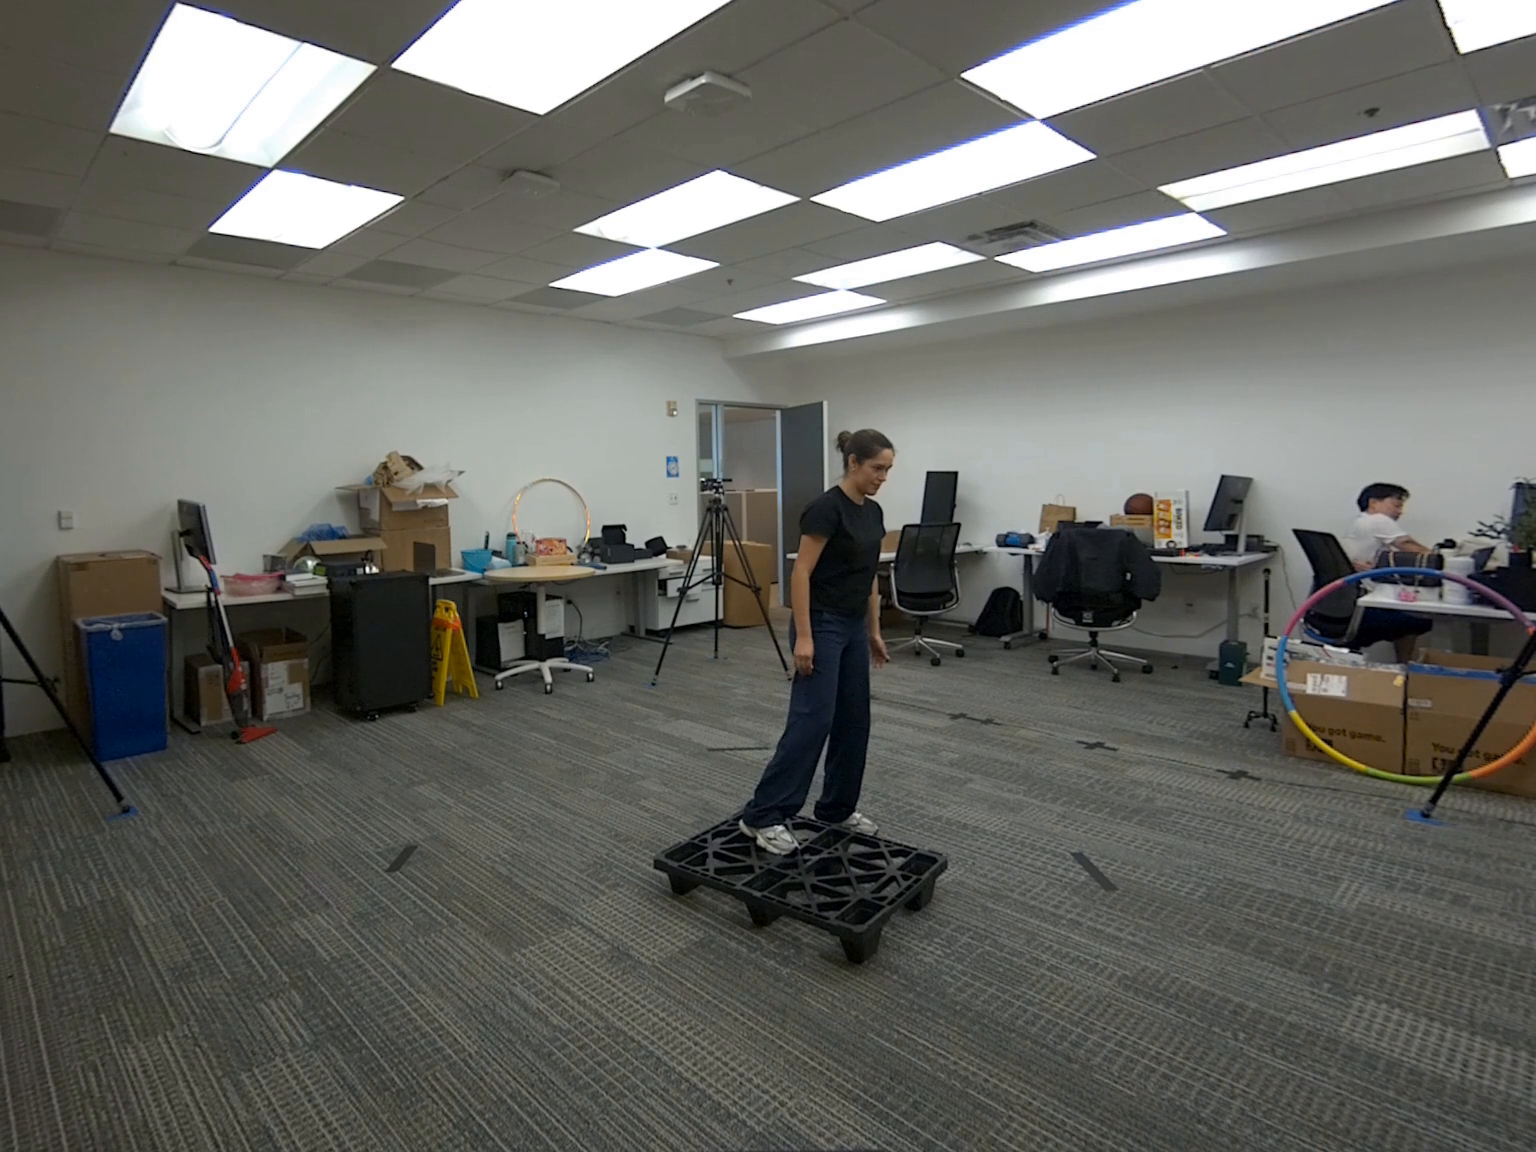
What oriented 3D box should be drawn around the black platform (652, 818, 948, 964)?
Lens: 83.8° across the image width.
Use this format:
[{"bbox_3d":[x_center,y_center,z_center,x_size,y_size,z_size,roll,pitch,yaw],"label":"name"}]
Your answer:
[{"bbox_3d":[0.105,1.002,2.873,0.829,0.143,0.590,4,8,37],"label":"black platform"}]
